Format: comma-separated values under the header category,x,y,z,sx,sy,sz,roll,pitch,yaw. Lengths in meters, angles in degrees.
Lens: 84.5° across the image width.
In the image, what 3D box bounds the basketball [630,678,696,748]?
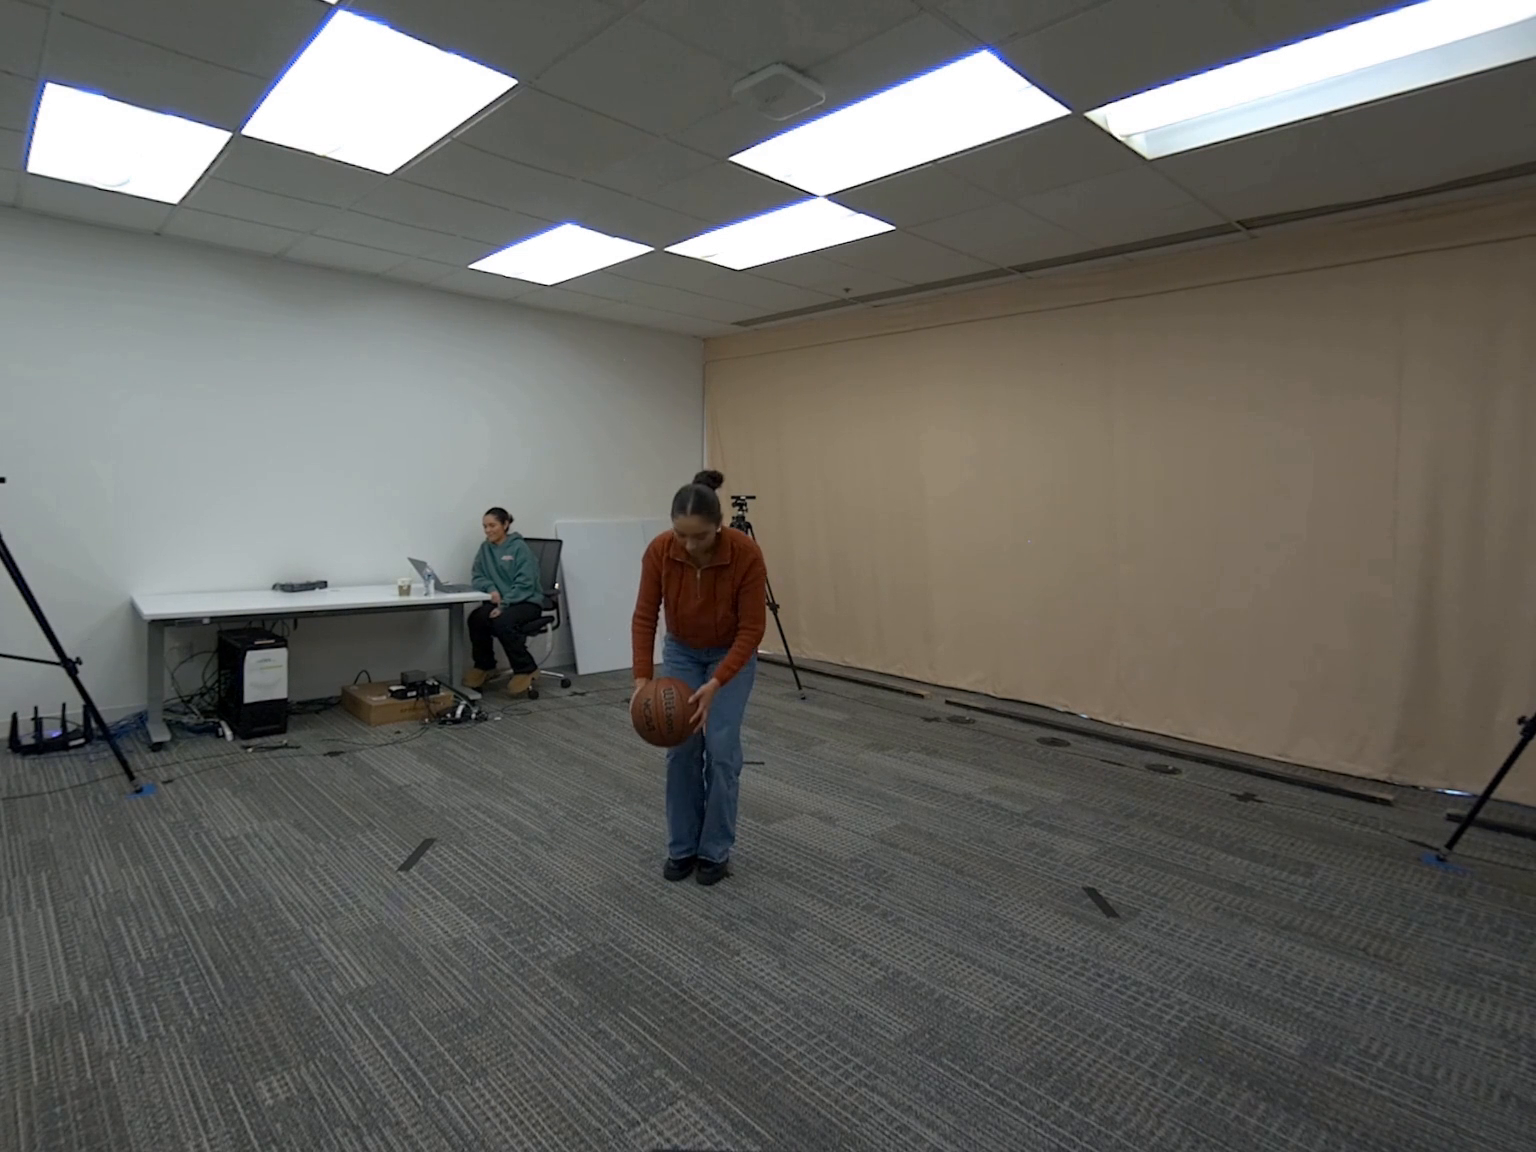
category,x,y,z,sx,sy,sz,roll,pitch,yaw
basketball,-0.354,0.470,2.862,0.236,0.235,0.237,1,4,-1
